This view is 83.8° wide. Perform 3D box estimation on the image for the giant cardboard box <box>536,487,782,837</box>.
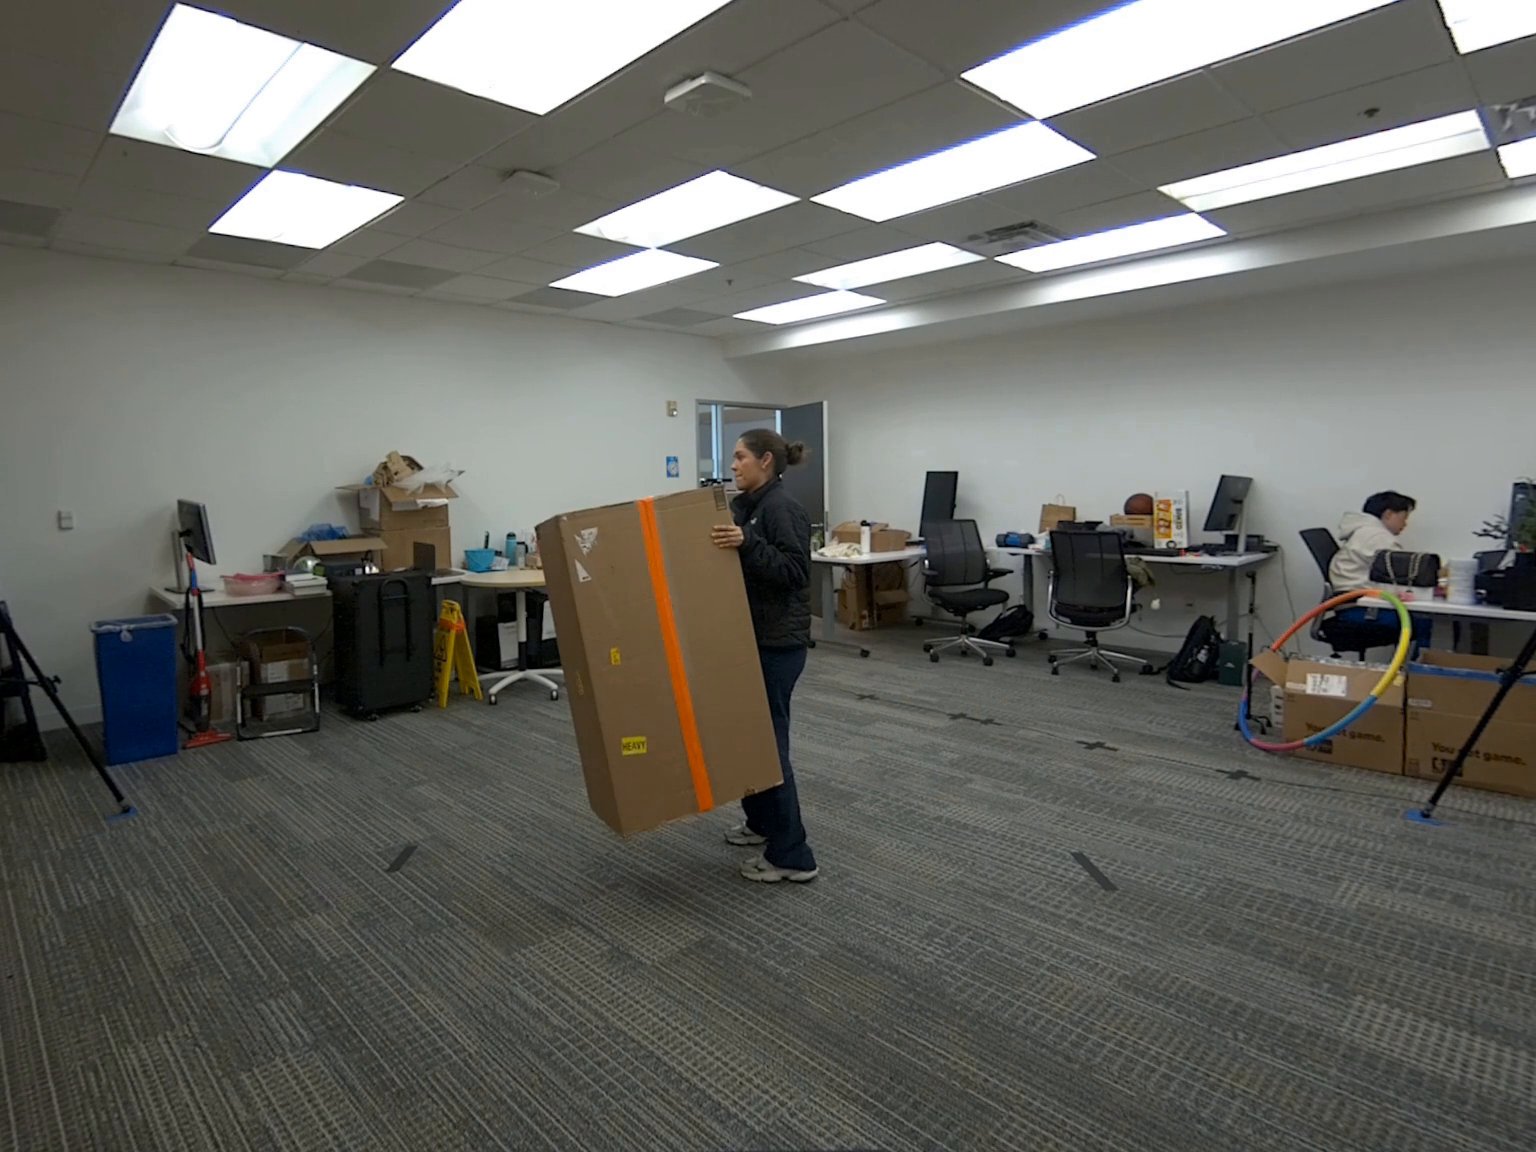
[{"bbox_3d":[-0.390,0.257,2.948,0.568,1.026,0.433,-11,0,-23],"label":"giant cardboard box"}]
